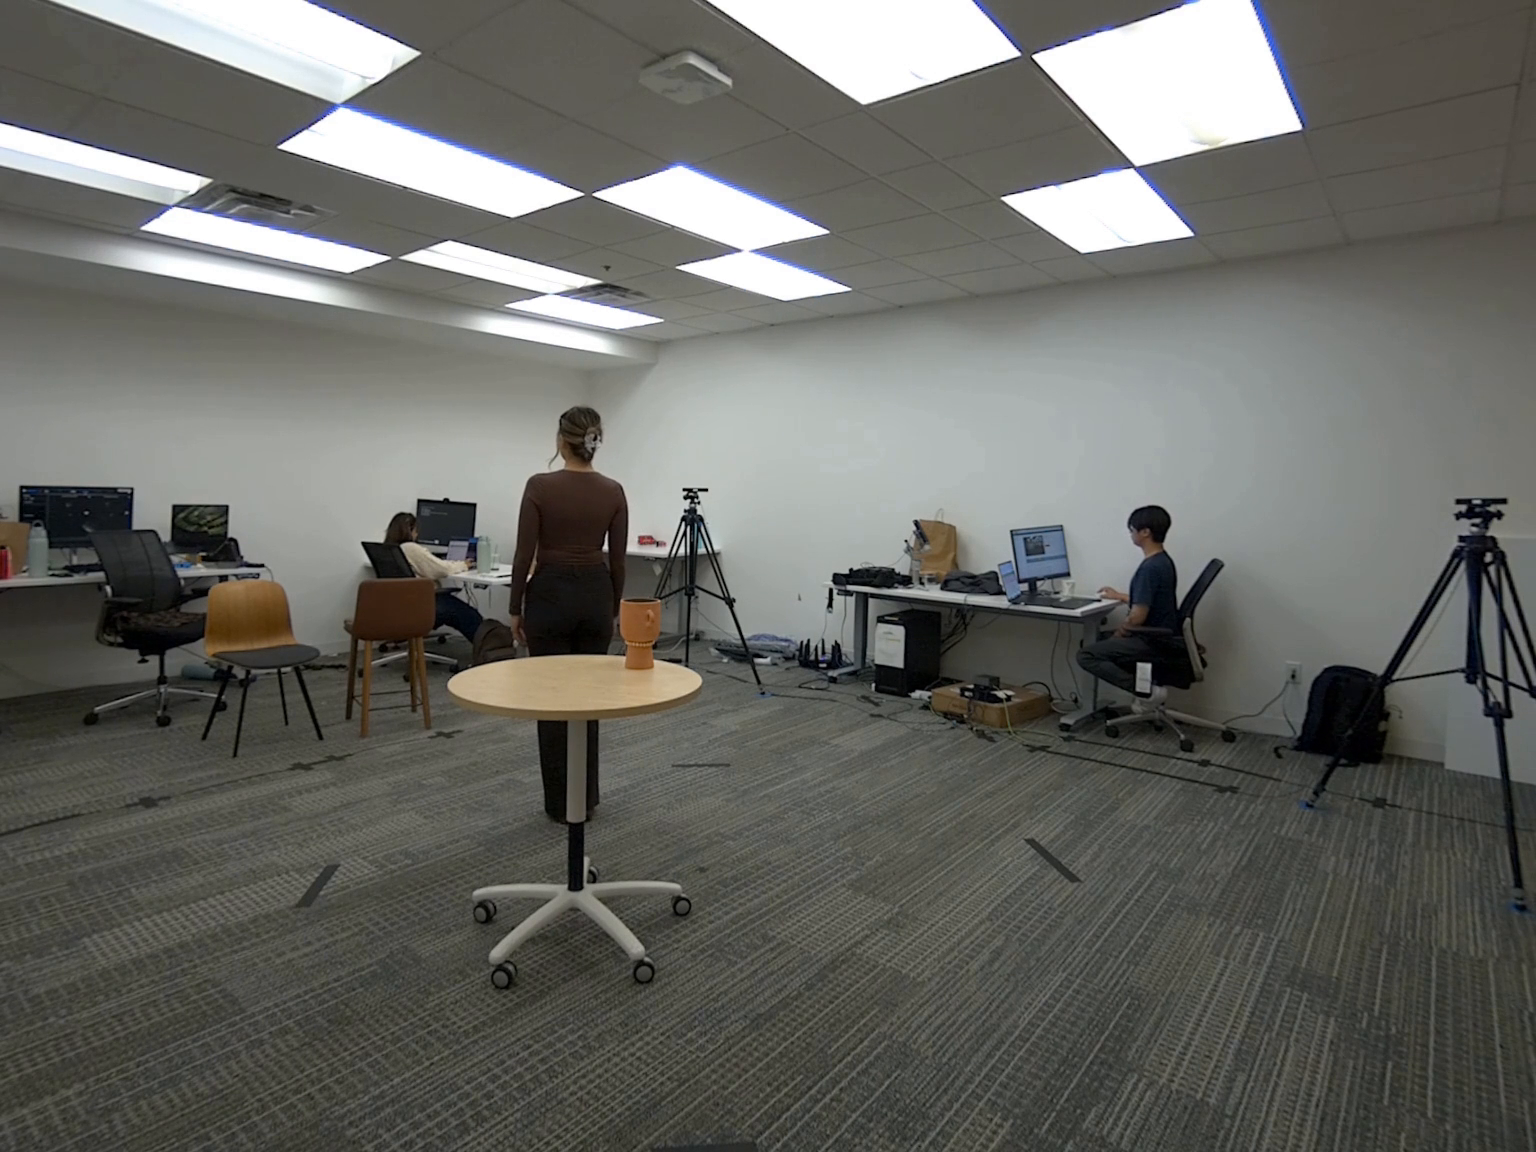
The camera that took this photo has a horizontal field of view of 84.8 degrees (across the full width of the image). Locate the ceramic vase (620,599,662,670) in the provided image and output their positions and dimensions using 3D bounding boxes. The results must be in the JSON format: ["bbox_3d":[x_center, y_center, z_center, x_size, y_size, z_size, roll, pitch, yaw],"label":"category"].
[{"bbox_3d":[-0.434,0.190,2.803,0.136,0.219,0.157,3,3,9],"label":"ceramic vase"}]
